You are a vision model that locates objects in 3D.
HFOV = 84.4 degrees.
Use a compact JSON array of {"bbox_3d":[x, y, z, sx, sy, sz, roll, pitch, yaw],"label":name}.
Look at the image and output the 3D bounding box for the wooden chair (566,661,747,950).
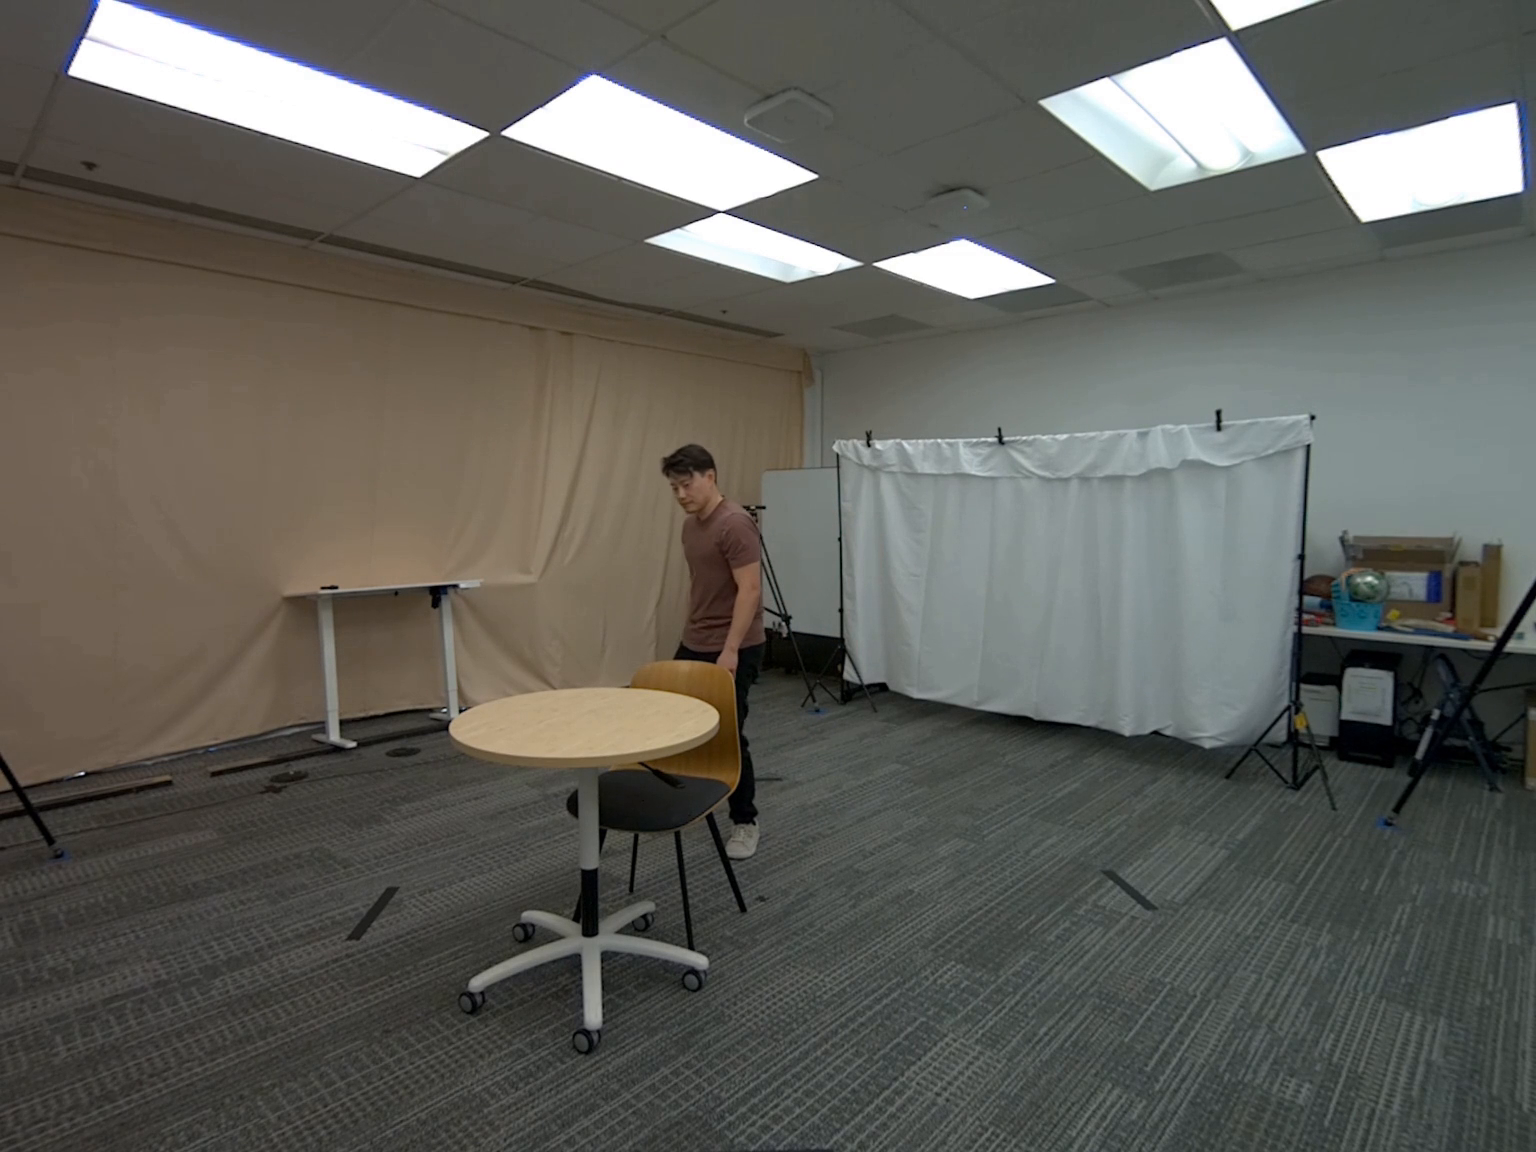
[{"bbox_3d":[-0.350,0.740,2.728,0.489,0.877,0.511,2,0,21],"label":"wooden chair"}]
